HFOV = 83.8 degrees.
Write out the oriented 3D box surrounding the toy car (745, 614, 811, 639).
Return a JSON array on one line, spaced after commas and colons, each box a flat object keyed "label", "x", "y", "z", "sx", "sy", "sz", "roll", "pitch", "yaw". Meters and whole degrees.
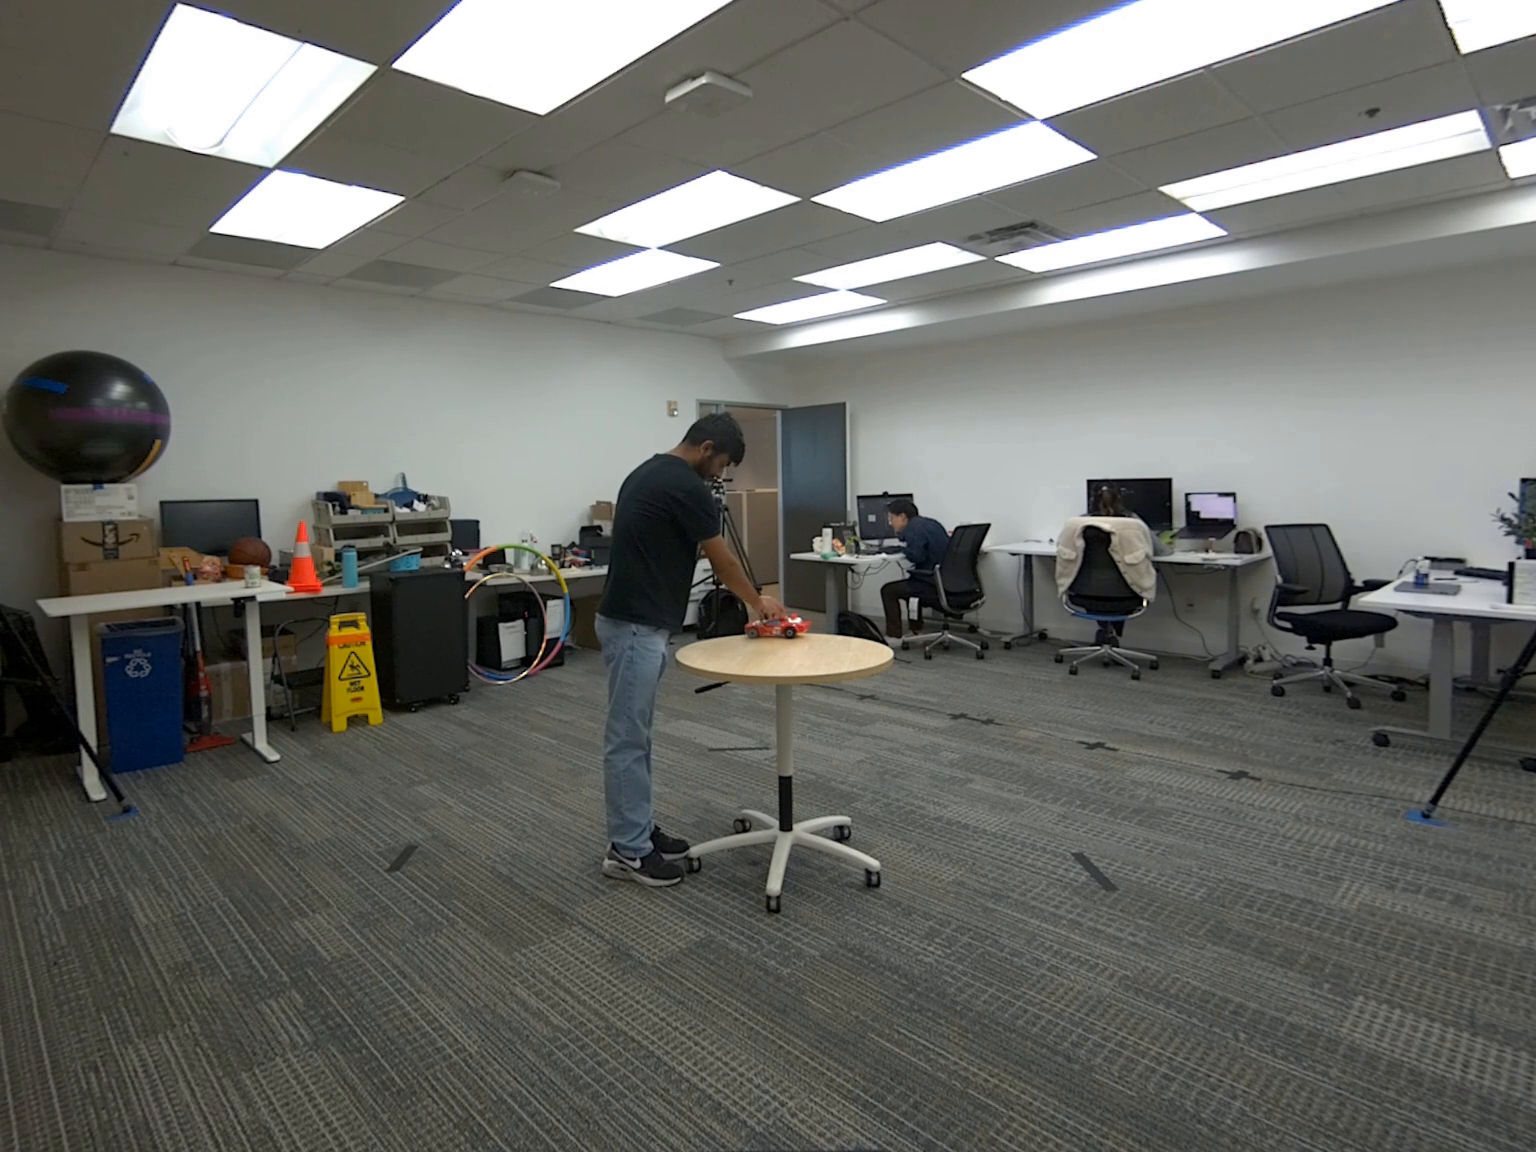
[{"label": "toy car", "x": 0.037, "y": 0.203, "z": 3.327, "sx": 0.257, "sy": 0.083, "sz": 0.129, "roll": -11, "pitch": 3, "yaw": 11}]
